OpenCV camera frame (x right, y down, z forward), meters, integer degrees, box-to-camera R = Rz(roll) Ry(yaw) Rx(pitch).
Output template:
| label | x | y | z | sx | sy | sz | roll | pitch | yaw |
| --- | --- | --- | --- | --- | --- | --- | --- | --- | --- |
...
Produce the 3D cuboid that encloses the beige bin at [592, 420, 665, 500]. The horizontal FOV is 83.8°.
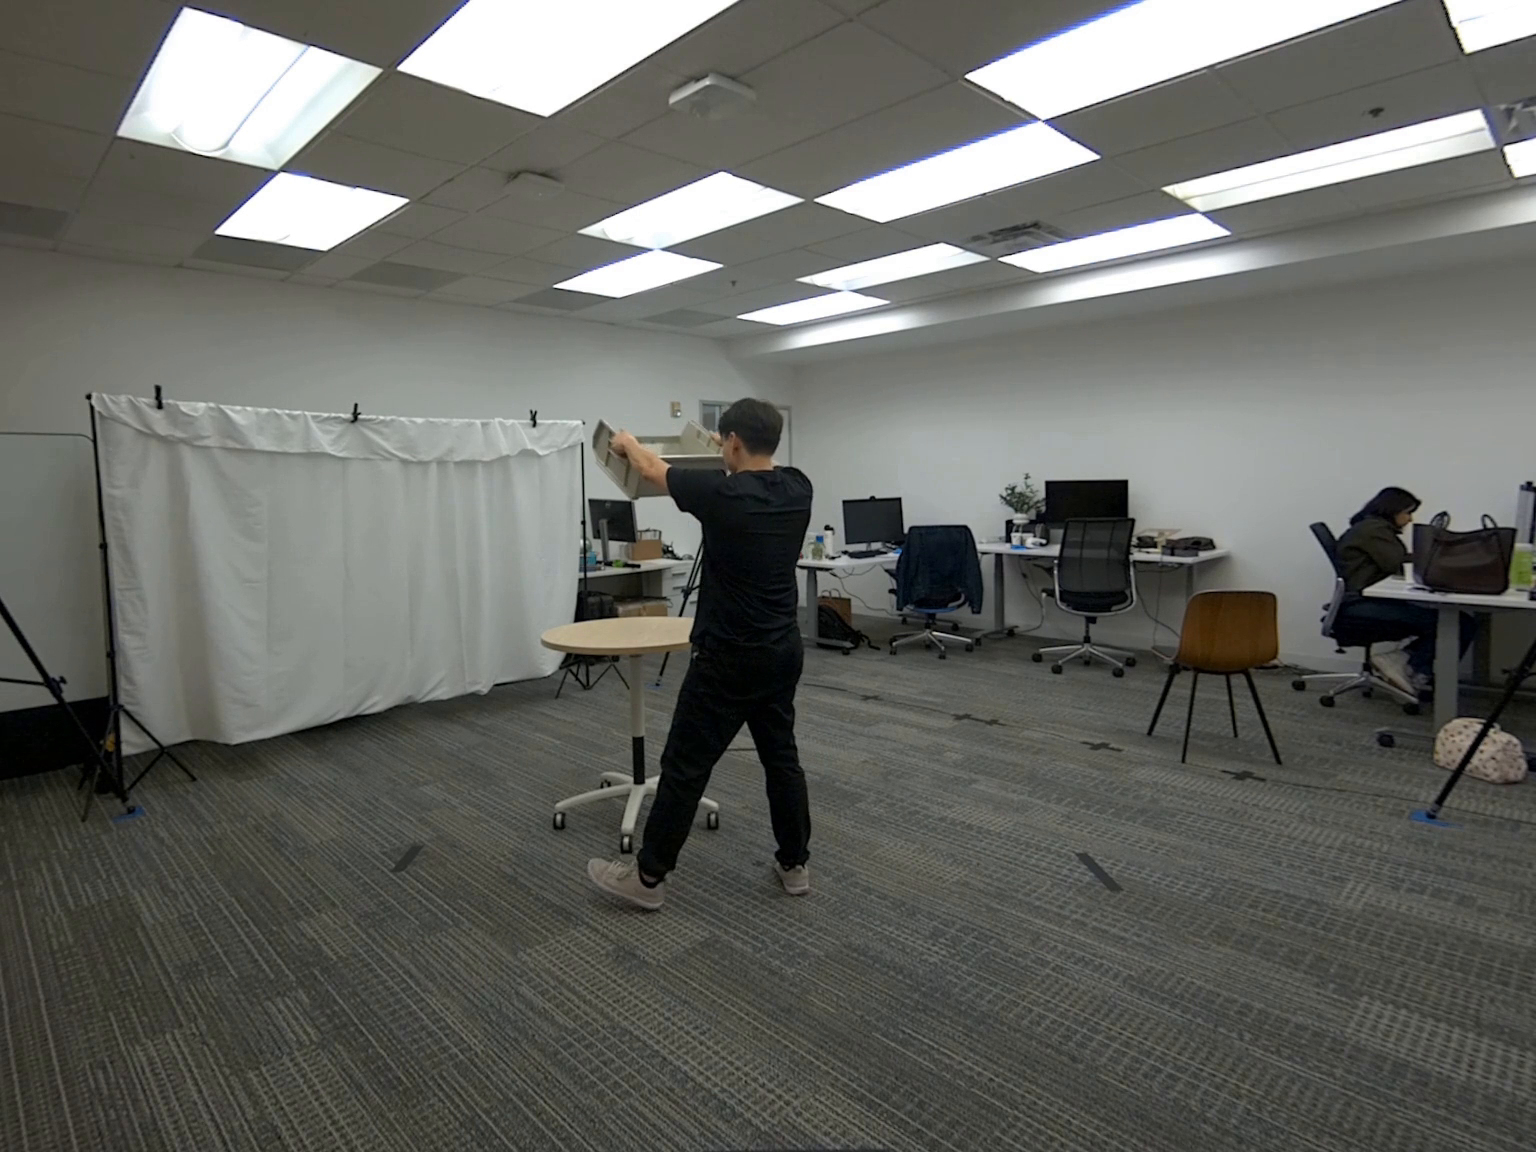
| label | x | y | z | sx | sy | sz | roll | pitch | yaw |
| --- | --- | --- | --- | --- | --- | --- | --- | --- | --- |
| beige bin | -0.416 | -0.468 | 3.302 | 0.412 | 0.186 | 0.392 | -6 | 35 | -37 |
